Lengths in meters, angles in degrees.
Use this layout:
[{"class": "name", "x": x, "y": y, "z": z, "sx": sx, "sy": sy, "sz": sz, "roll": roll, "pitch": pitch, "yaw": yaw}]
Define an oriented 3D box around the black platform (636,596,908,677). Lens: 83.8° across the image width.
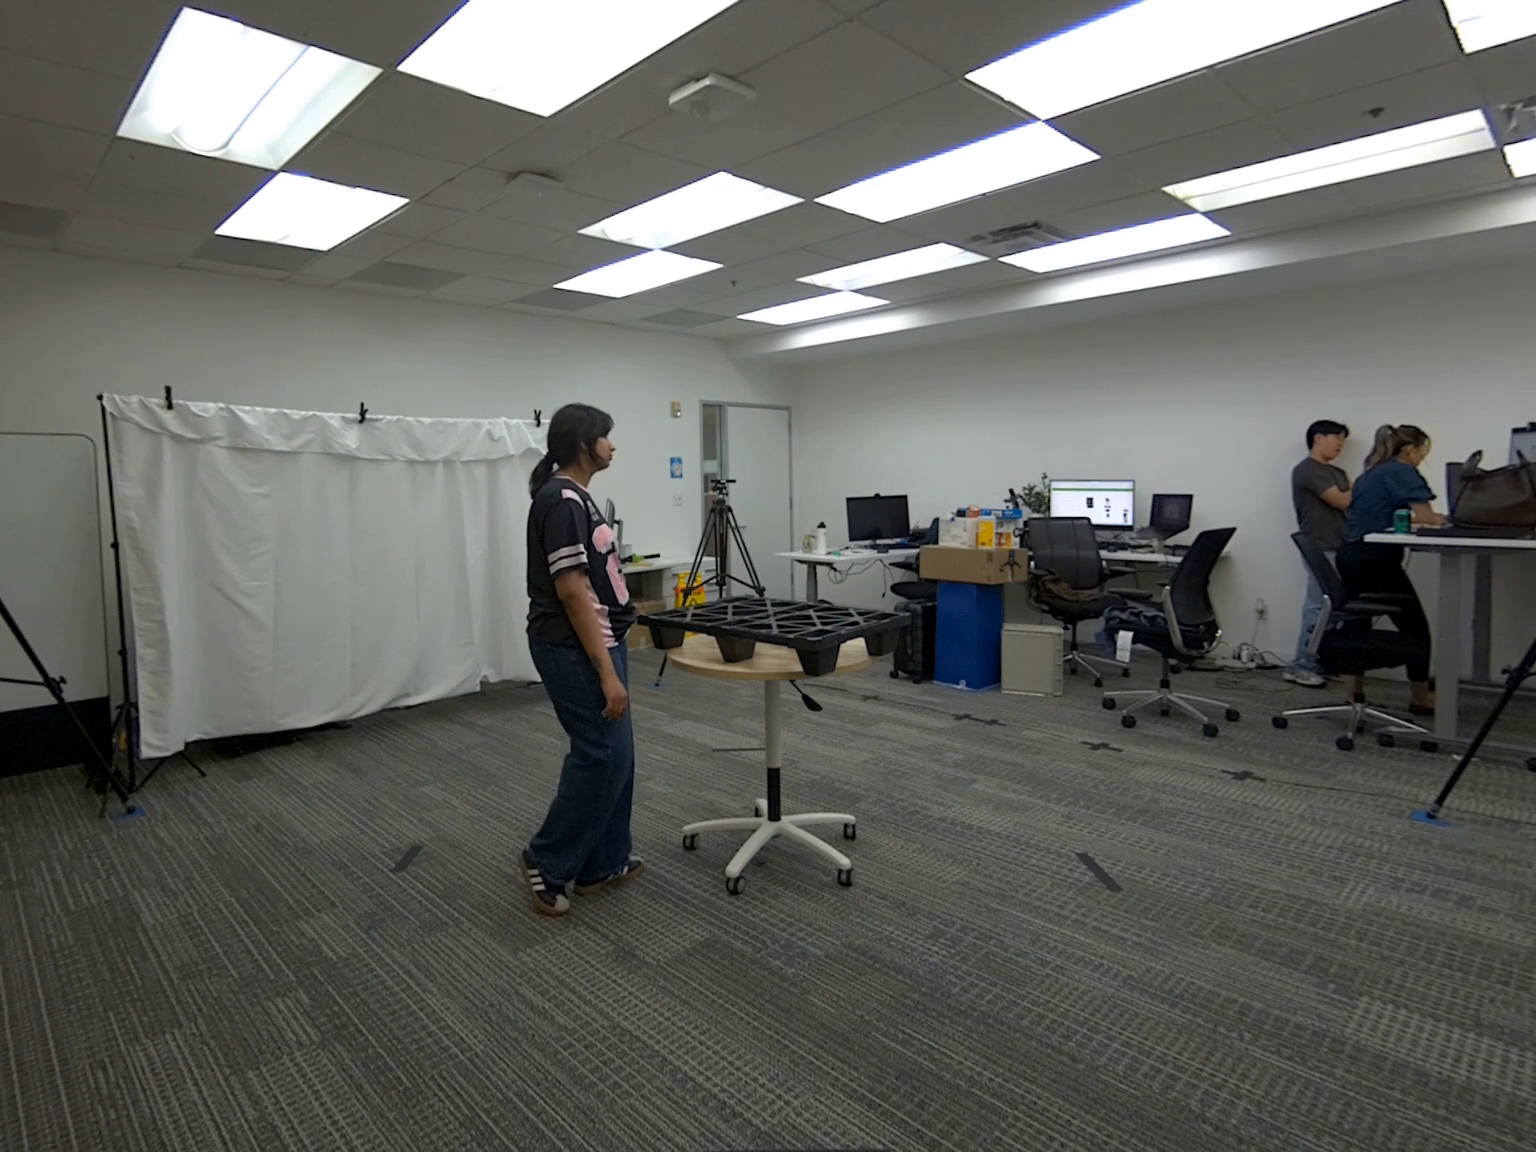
[{"class": "black platform", "x": 0.016, "y": 0.202, "z": 3.056, "sx": 0.830, "sy": 0.142, "sz": 0.590, "roll": 4, "pitch": 9, "yaw": 41}]
